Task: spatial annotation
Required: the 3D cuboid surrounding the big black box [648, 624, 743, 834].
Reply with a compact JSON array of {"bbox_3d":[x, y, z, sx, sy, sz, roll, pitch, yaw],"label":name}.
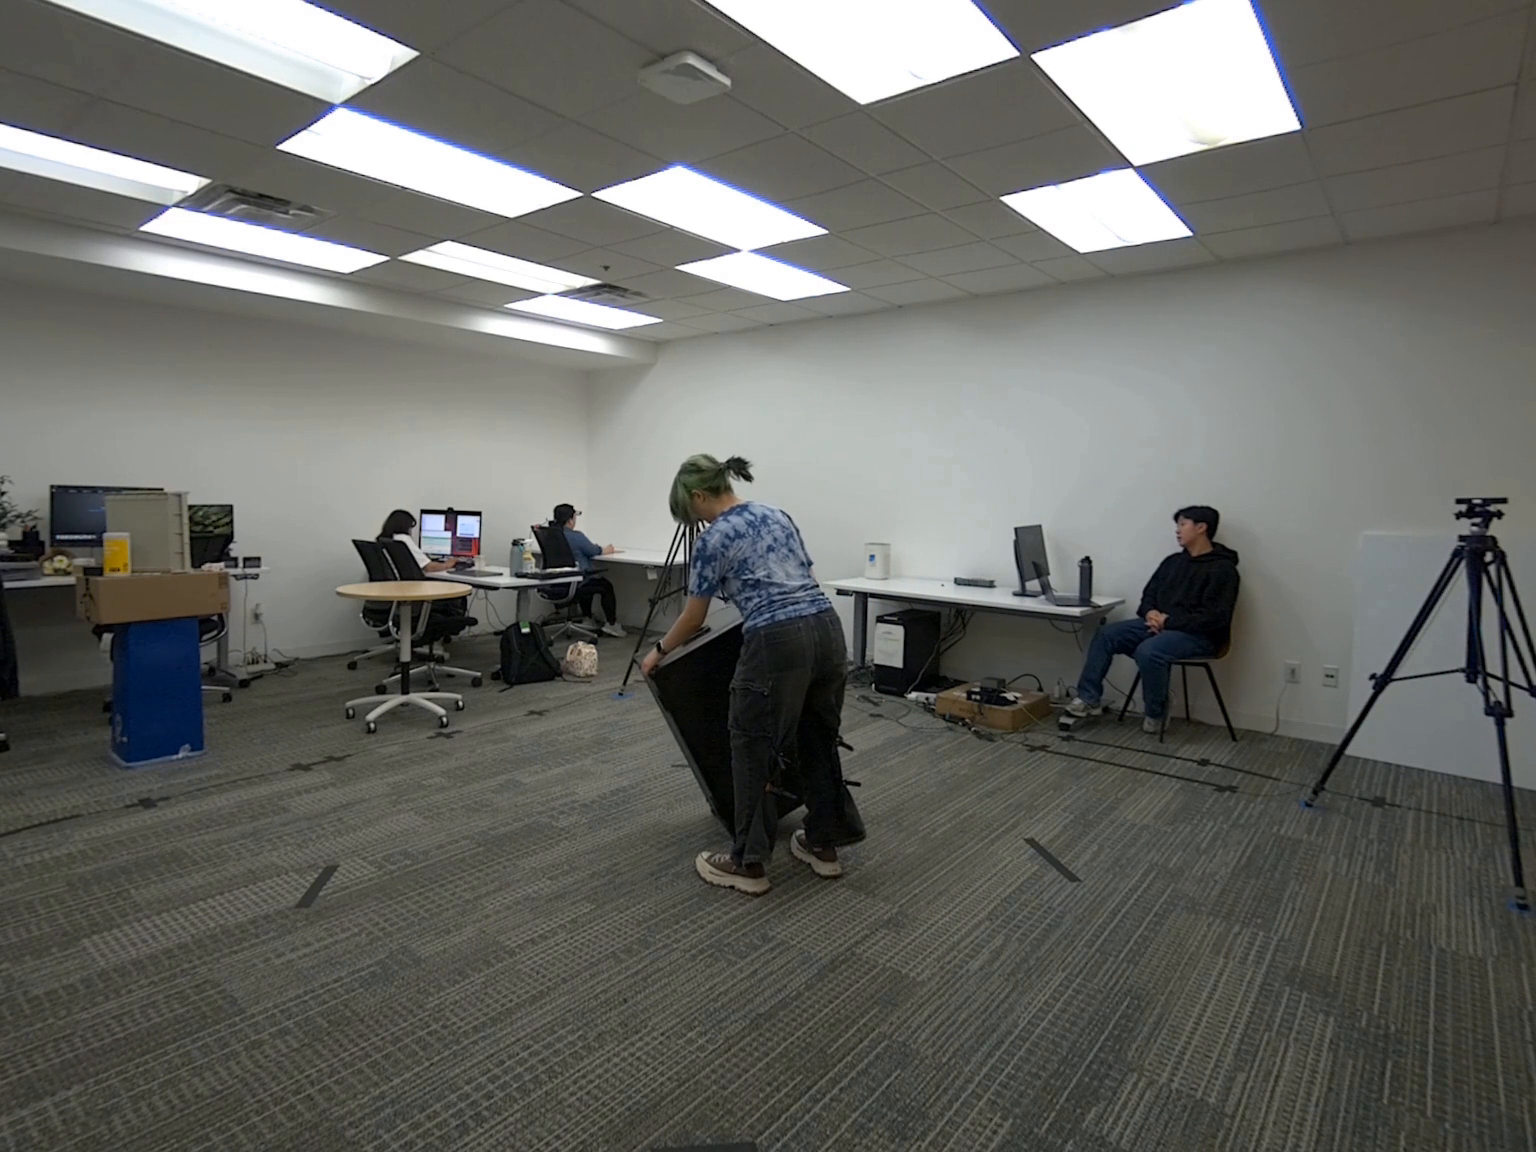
[{"bbox_3d":[-0.142,0.602,3.478,0.518,0.852,0.403,-29,9,-14],"label":"big black box"}]
